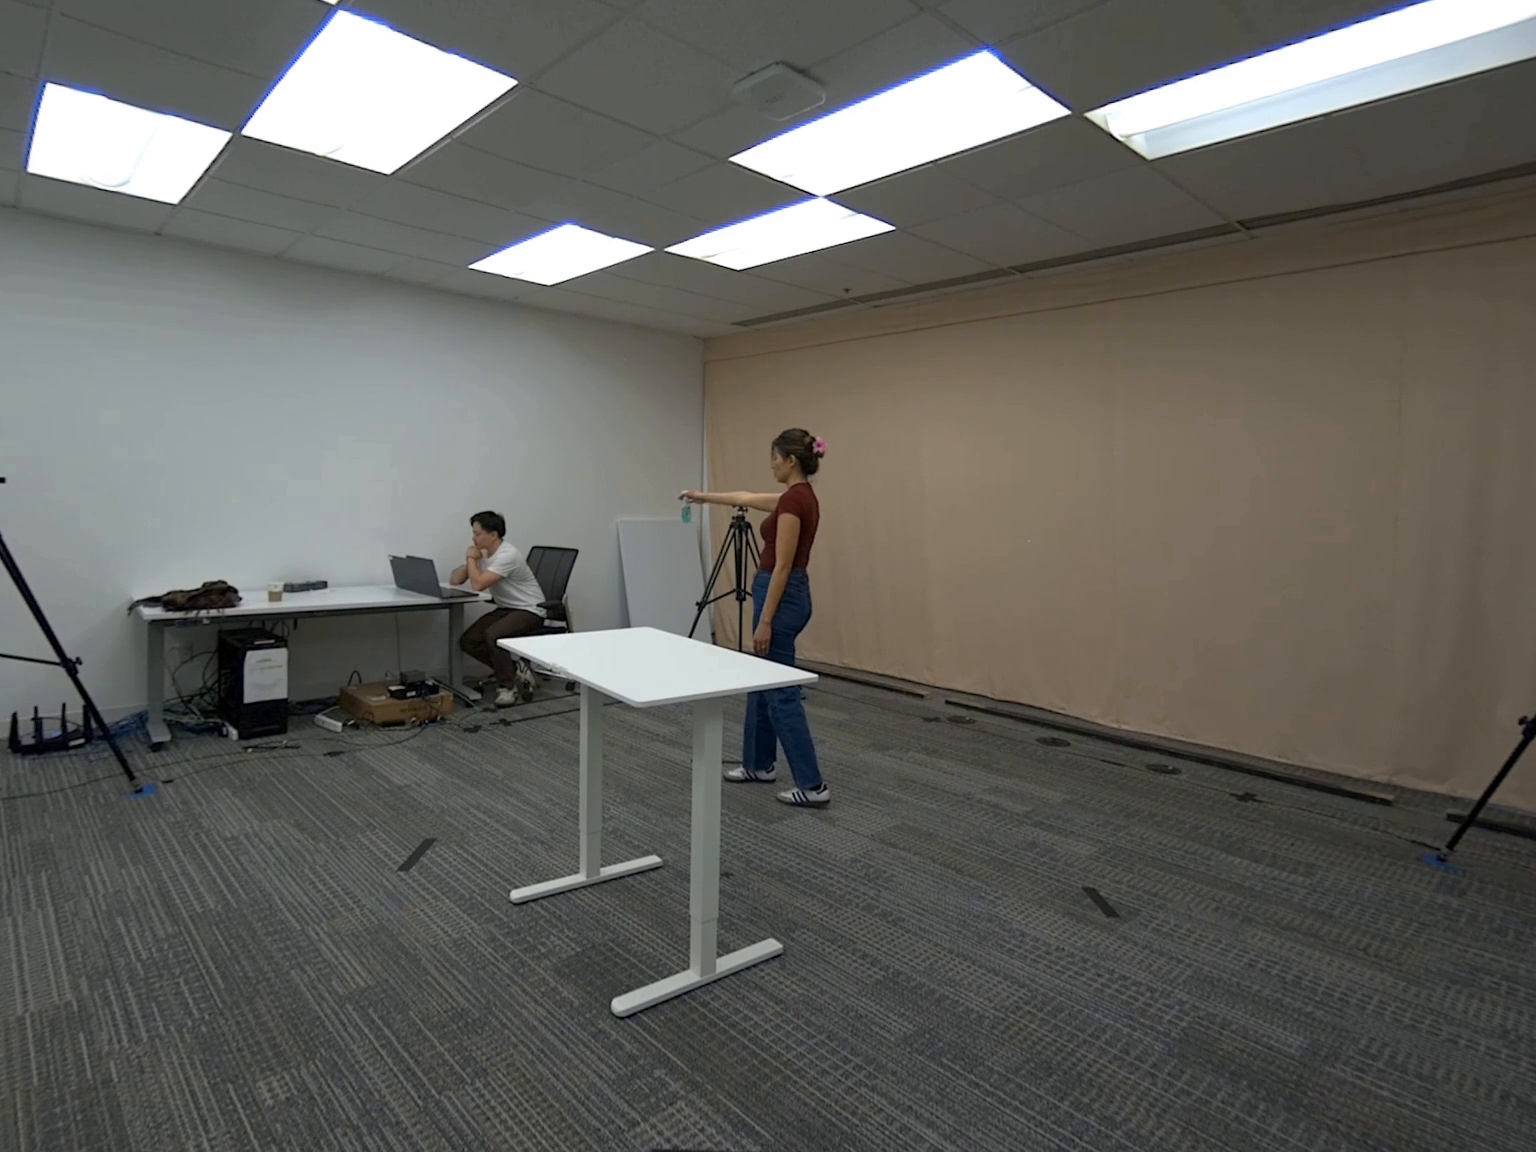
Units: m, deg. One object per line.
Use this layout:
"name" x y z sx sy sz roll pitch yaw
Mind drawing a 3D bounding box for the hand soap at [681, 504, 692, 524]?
"hand soap" -0.432 -0.364 4.405 0.044 0.167 0.084 4 13 16
